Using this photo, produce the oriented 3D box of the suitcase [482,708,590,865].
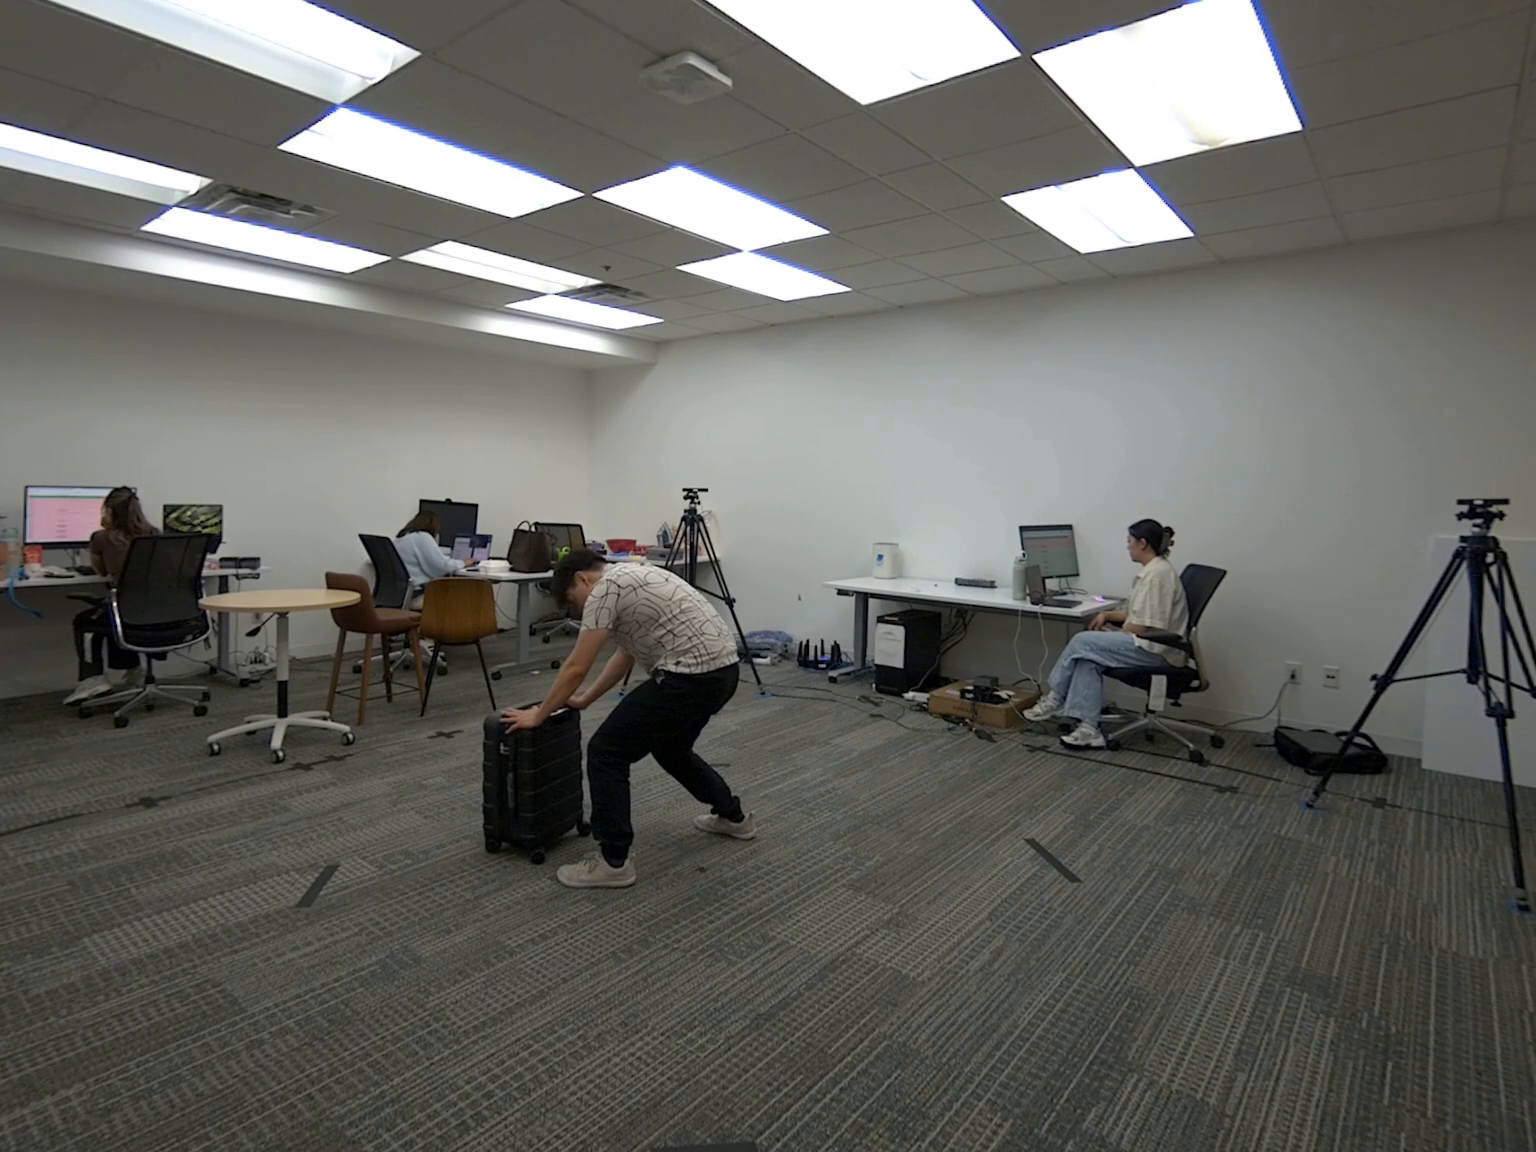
[{"bbox_3d":[-0.918,0.769,3.303,0.254,0.548,0.367,0,2,25],"label":"suitcase"}]
